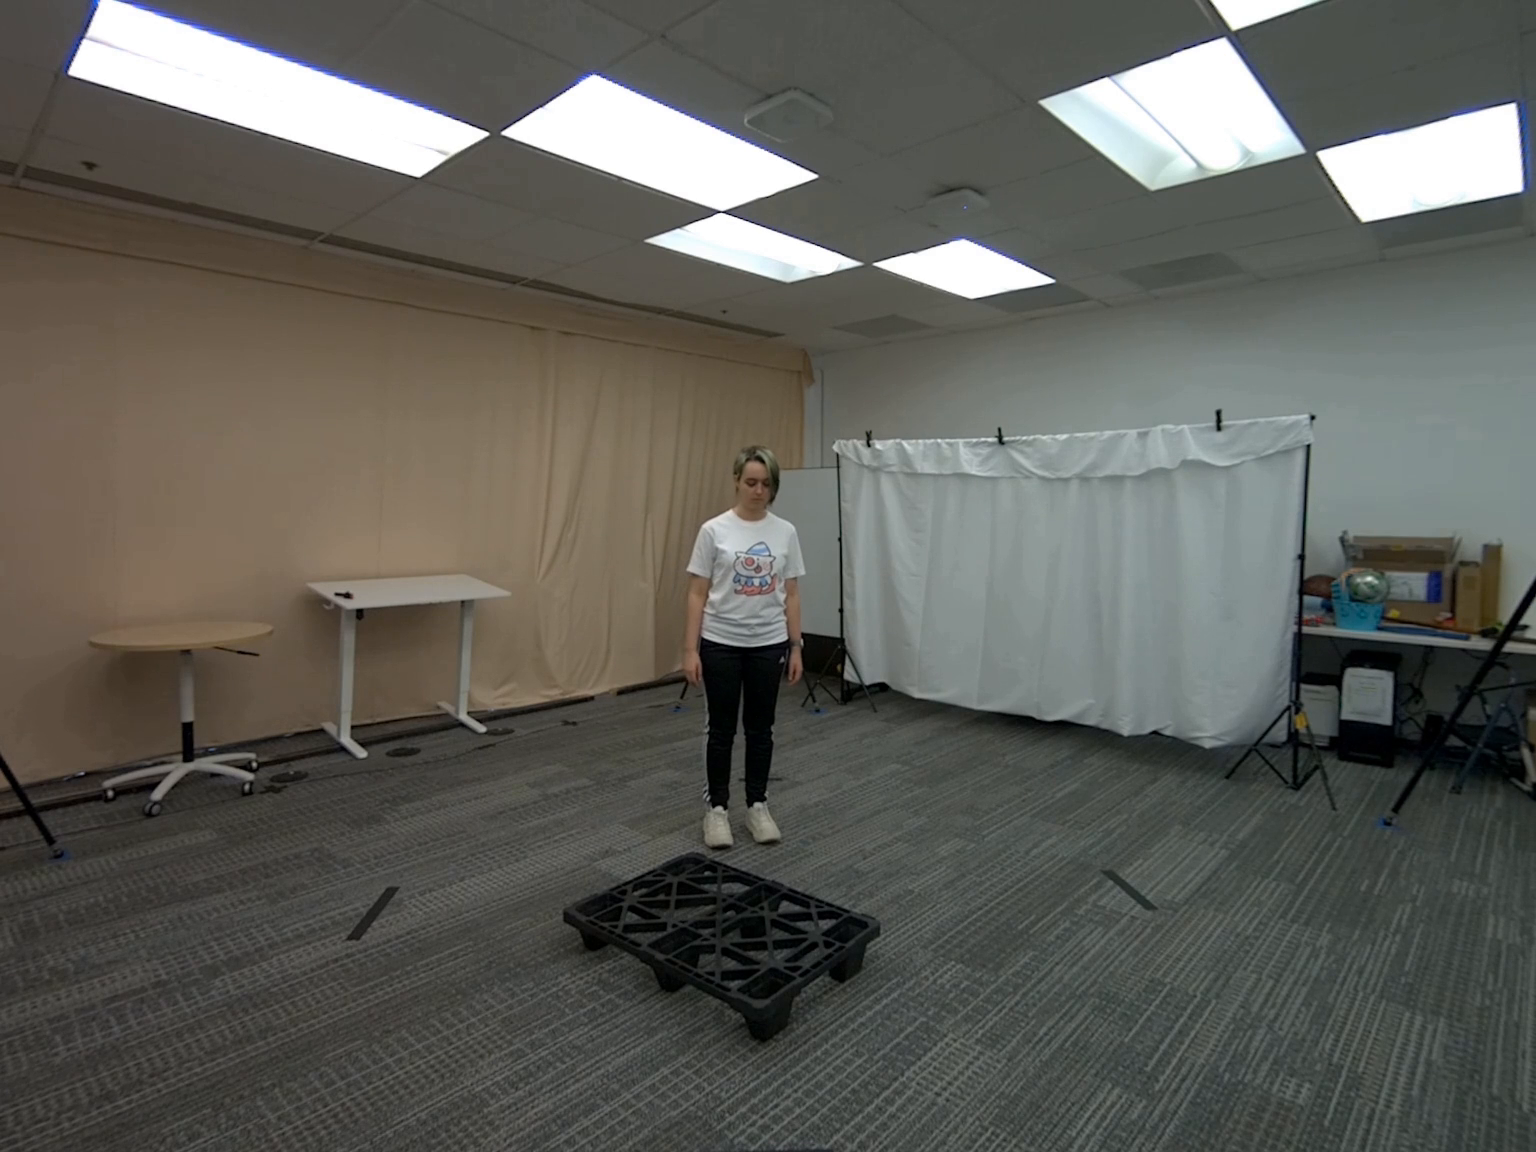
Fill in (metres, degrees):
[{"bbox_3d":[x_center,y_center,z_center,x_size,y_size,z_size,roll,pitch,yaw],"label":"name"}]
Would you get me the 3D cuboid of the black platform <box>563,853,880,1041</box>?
[{"bbox_3d":[-0.150,1.110,2.597,0.832,0.143,0.587,4,6,40],"label":"black platform"}]
